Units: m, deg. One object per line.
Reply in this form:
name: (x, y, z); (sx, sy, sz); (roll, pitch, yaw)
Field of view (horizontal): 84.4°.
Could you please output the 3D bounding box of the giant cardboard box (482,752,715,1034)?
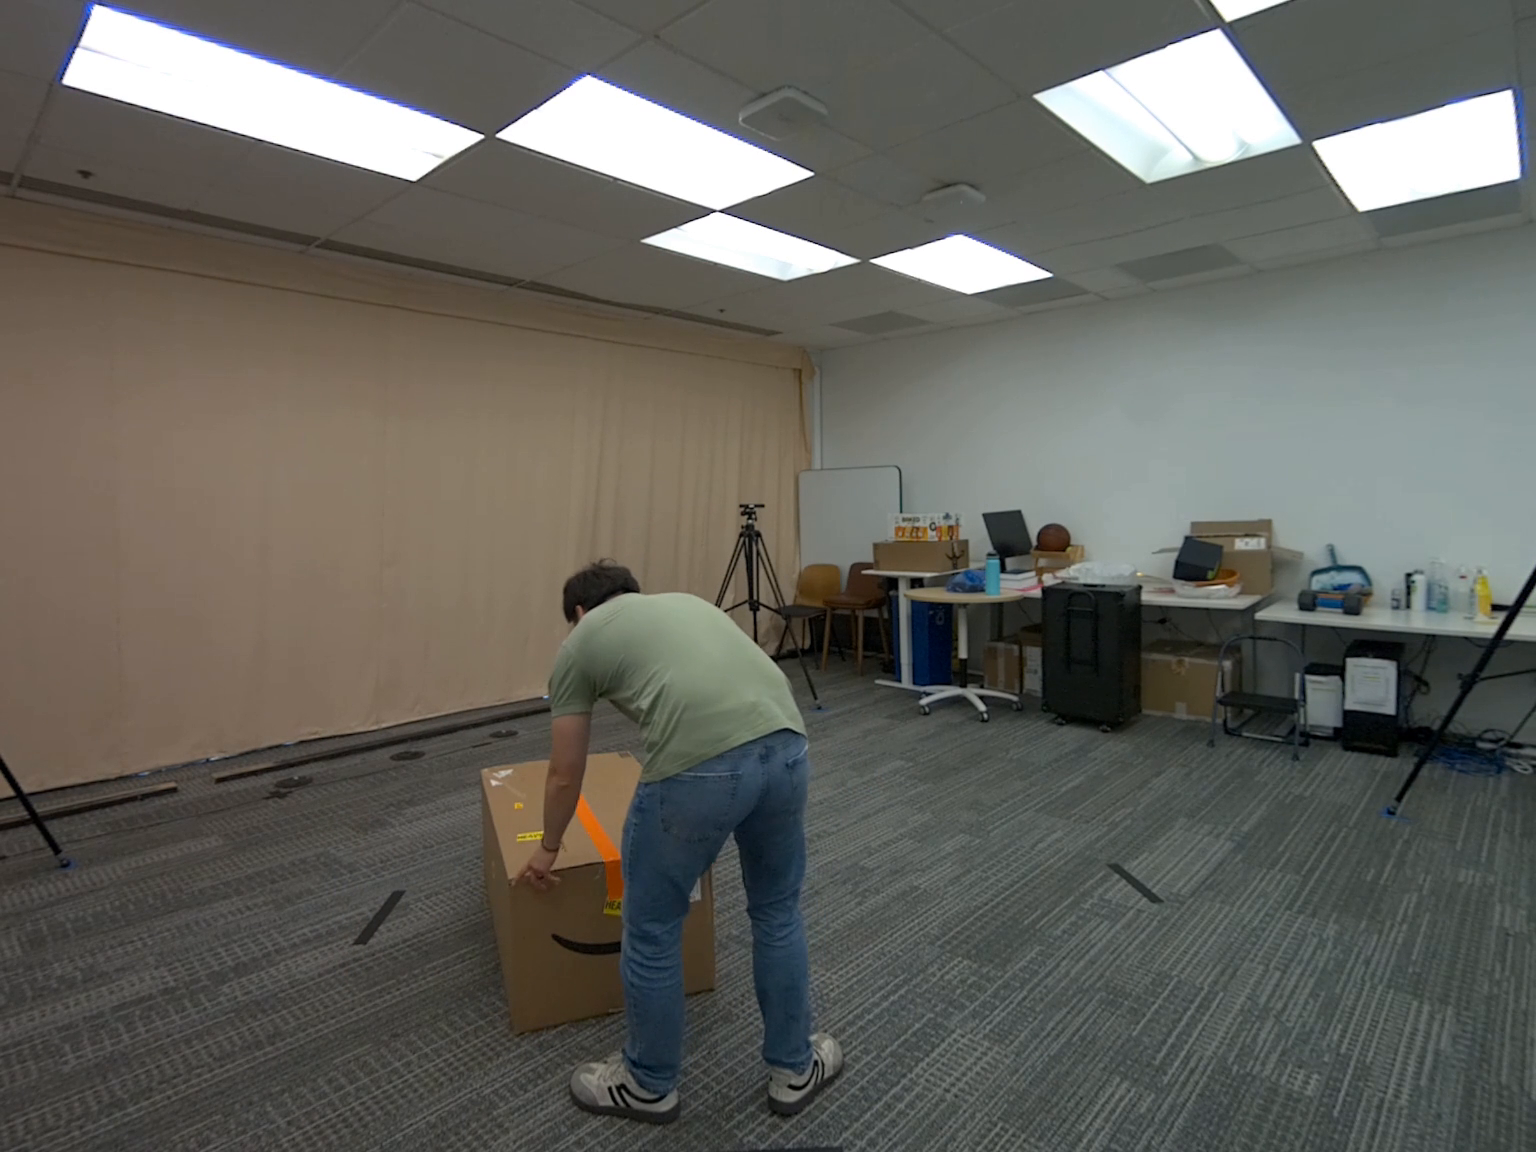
giant cardboard box: (-0.612, 0.953, 2.793); (0.565, 0.425, 1.050); (-3, 5, -22)
